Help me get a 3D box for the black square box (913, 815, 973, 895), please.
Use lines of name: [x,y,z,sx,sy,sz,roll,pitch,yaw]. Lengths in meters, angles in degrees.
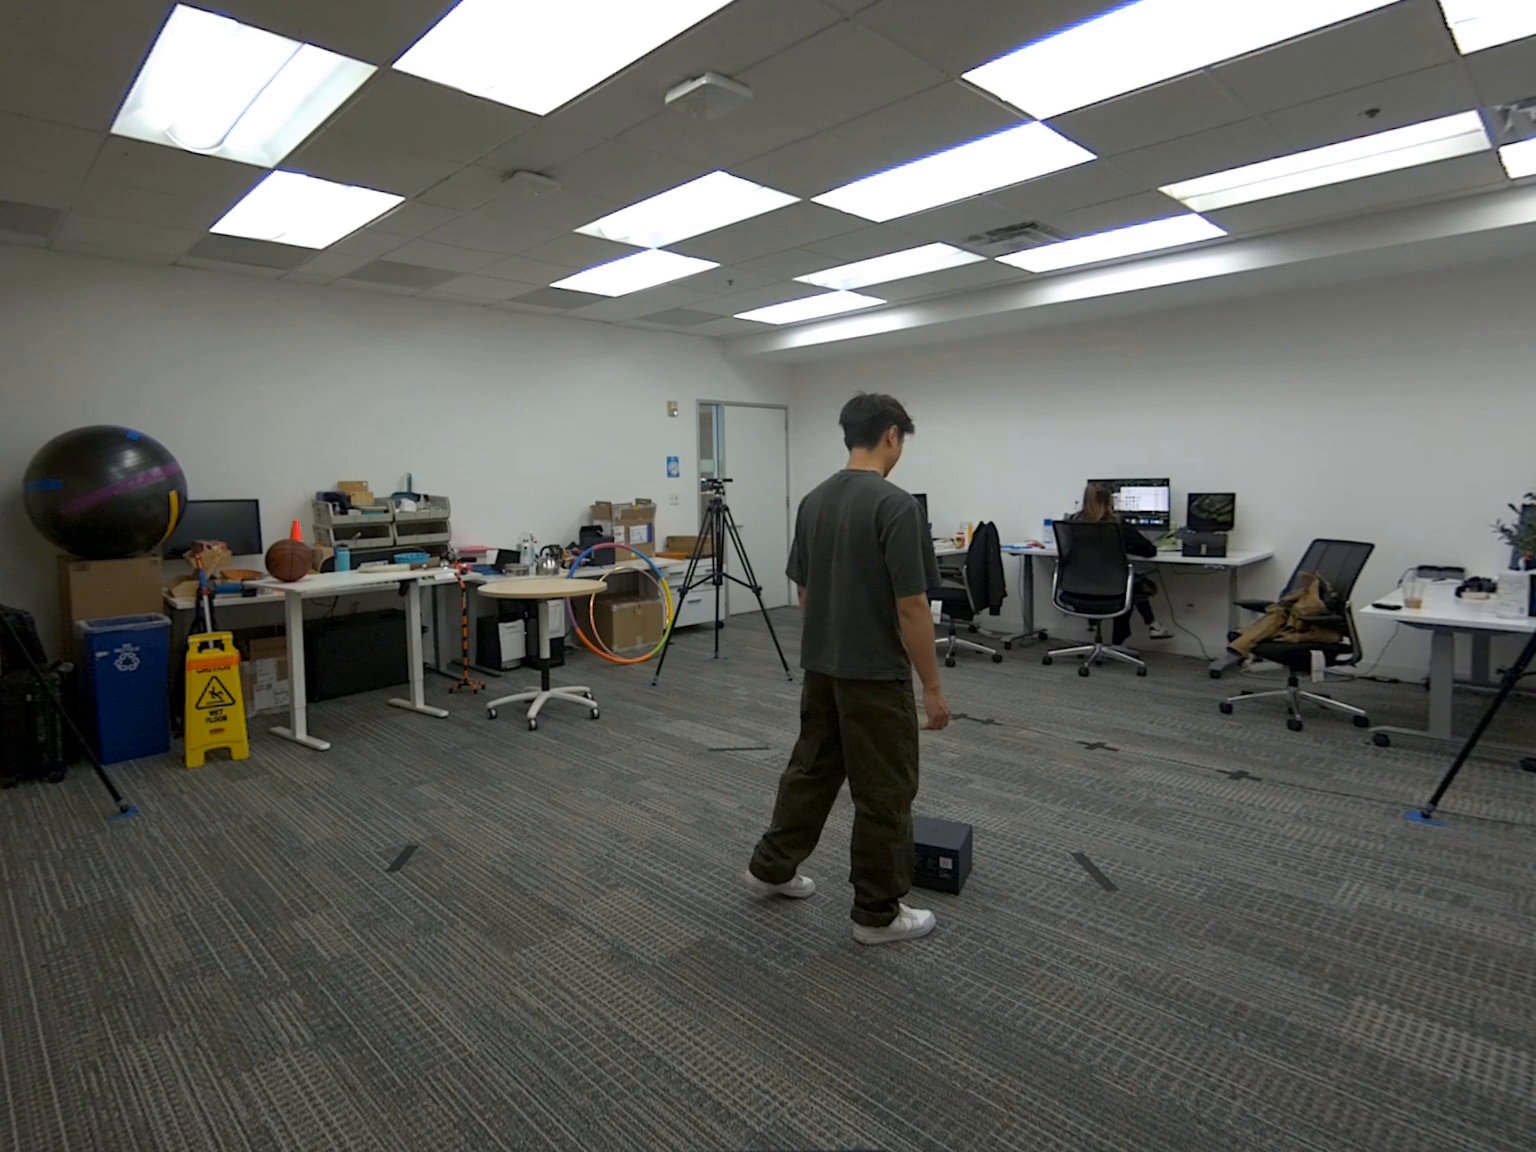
black square box: [0.585,0.963,2.981,0.222,0.155,0.223,2,6,26]
